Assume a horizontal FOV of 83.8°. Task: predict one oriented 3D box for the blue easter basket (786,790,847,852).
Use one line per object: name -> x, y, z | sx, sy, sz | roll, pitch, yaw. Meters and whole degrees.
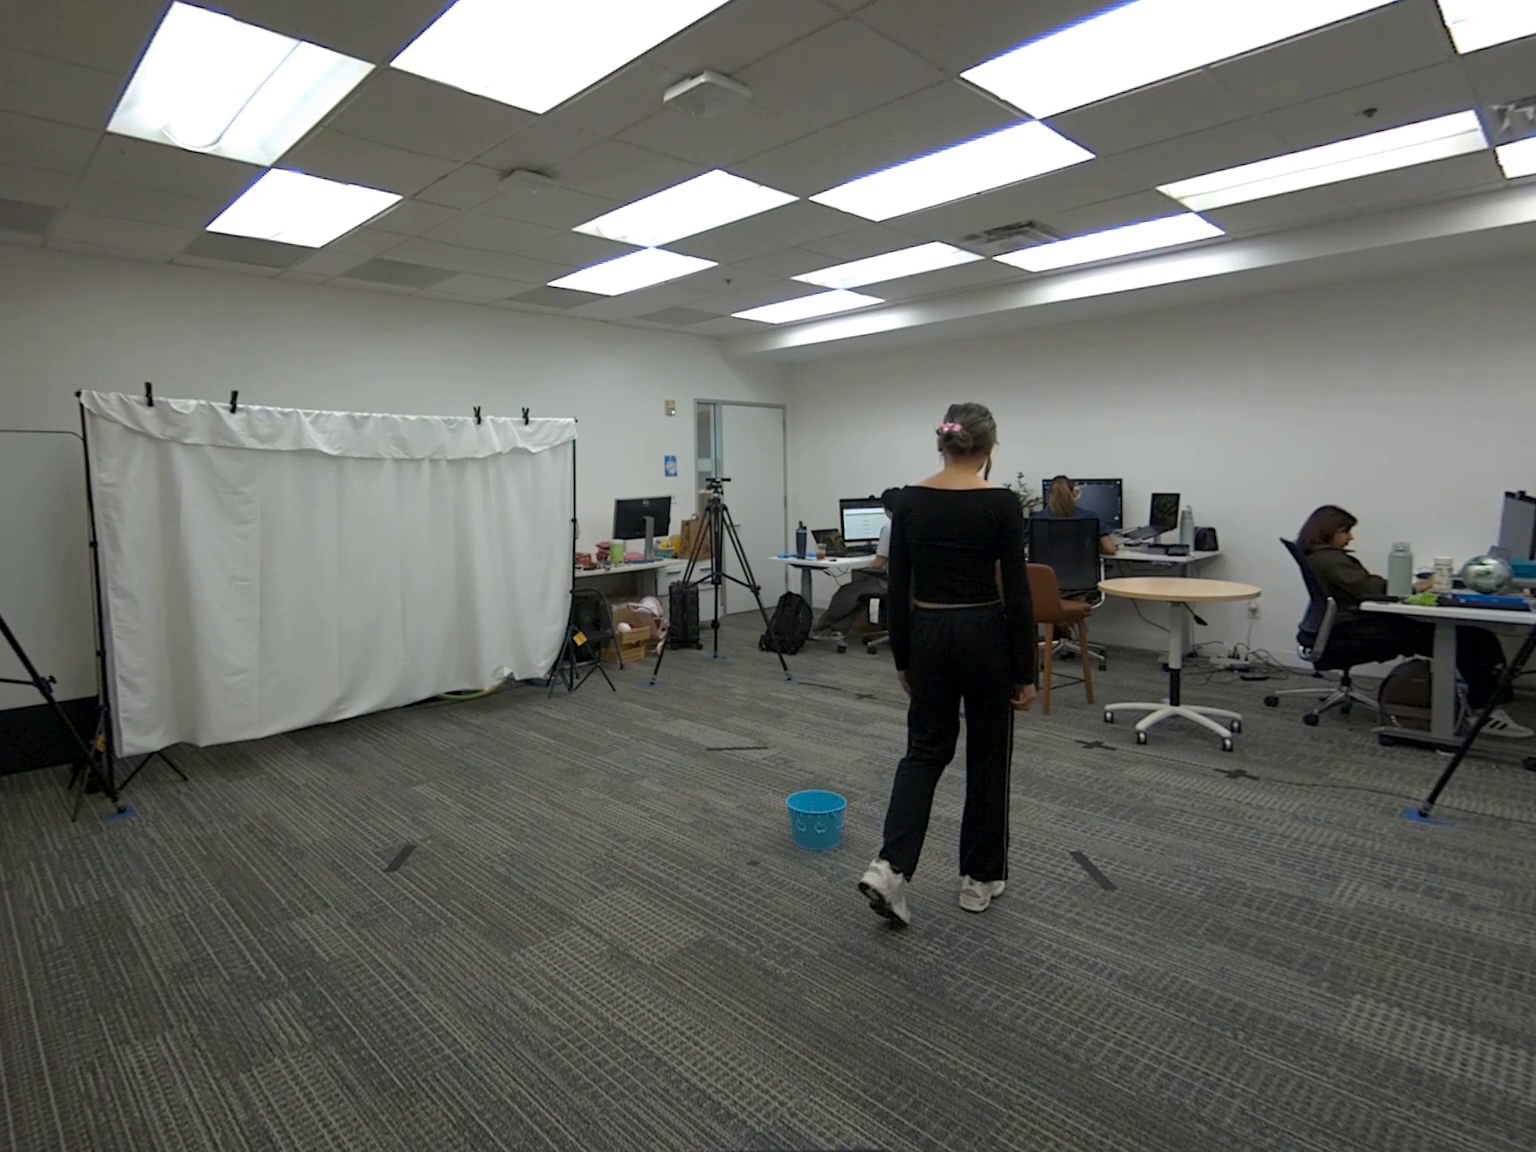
blue easter basket -> 0.195, 0.940, 3.290 | 0.243, 0.155, 0.245 | -2, 6, -2
